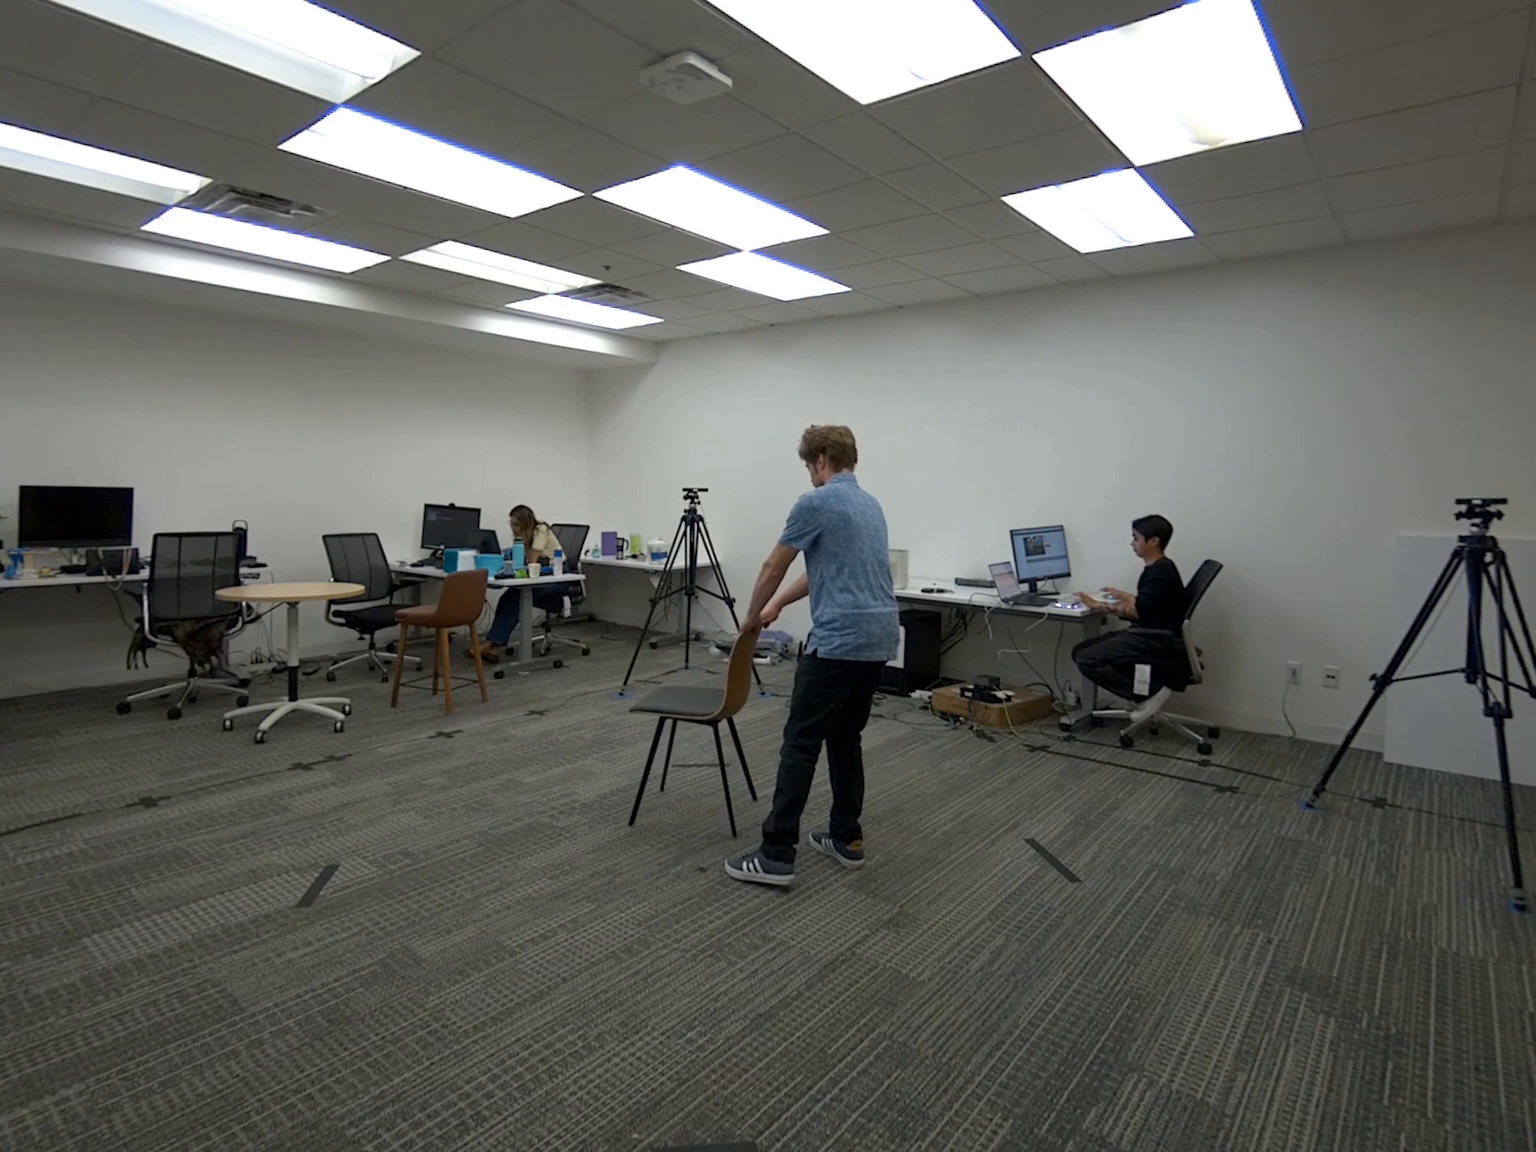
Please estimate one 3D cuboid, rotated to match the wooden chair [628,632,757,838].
[{"bbox_3d":[-0.322,0.591,3.640,0.531,0.875,0.472,6,4,12],"label":"wooden chair"}]
